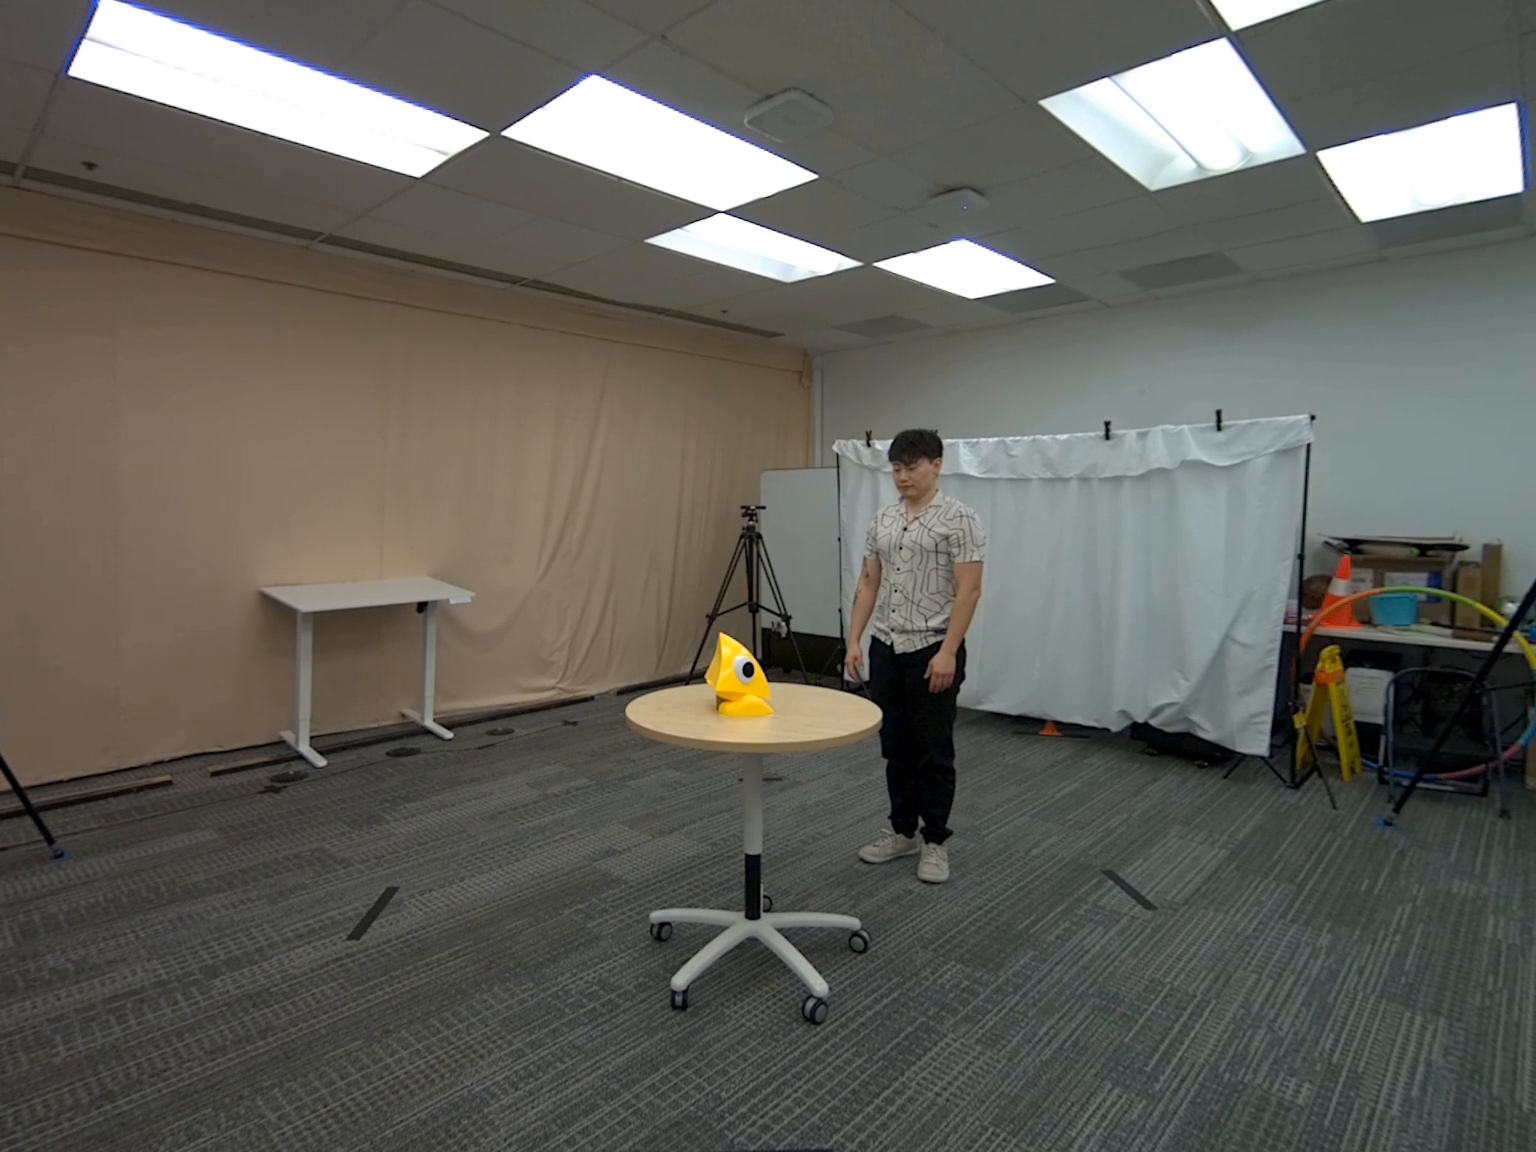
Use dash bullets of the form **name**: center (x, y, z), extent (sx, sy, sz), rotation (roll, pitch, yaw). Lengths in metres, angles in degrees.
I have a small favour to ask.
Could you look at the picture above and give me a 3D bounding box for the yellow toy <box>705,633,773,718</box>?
- **yellow toy**: center (-0.082, 0.284, 2.524), extent (0.191, 0.230, 0.208), rotation (-1, 3, -12)
